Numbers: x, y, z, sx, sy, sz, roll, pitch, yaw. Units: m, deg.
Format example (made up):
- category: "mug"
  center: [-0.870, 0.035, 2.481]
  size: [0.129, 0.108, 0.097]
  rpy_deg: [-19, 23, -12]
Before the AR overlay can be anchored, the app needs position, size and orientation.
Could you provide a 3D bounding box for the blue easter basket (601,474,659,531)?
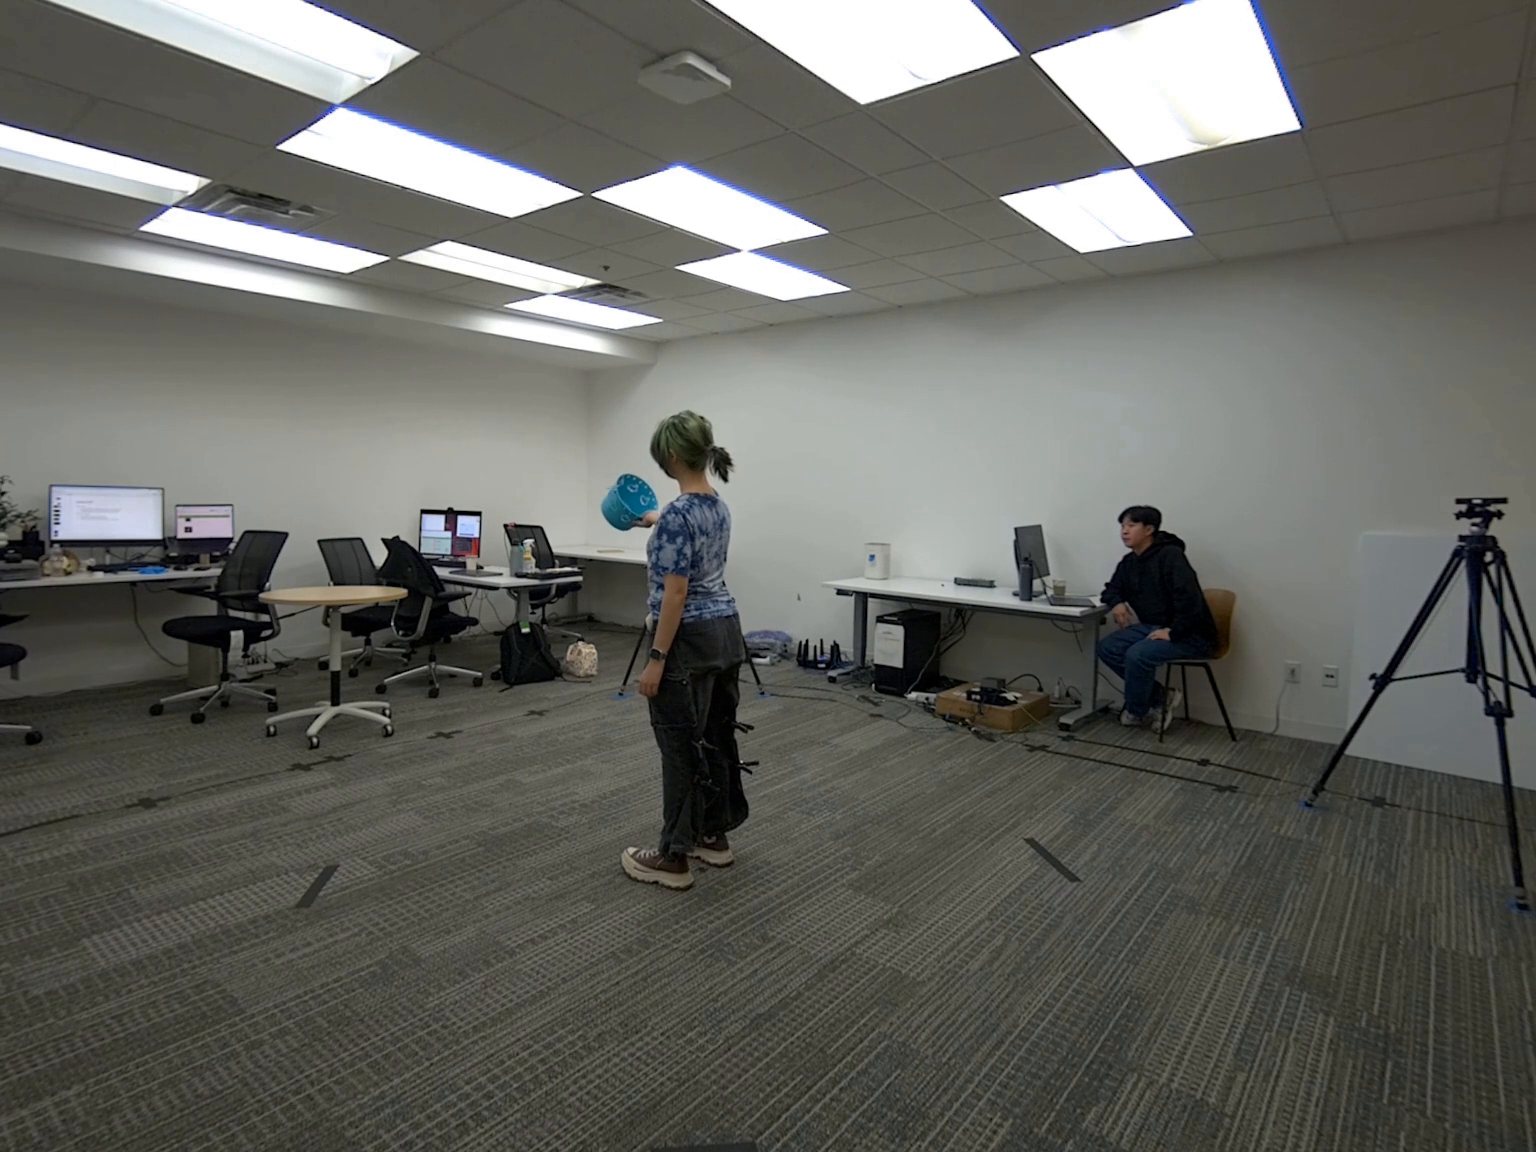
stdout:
- category: "blue easter basket"
  center: [-0.631, -0.314, 3.778]
  size: [0.157, 0.249, 0.236]
  rpy_deg: [-39, -21, 34]
